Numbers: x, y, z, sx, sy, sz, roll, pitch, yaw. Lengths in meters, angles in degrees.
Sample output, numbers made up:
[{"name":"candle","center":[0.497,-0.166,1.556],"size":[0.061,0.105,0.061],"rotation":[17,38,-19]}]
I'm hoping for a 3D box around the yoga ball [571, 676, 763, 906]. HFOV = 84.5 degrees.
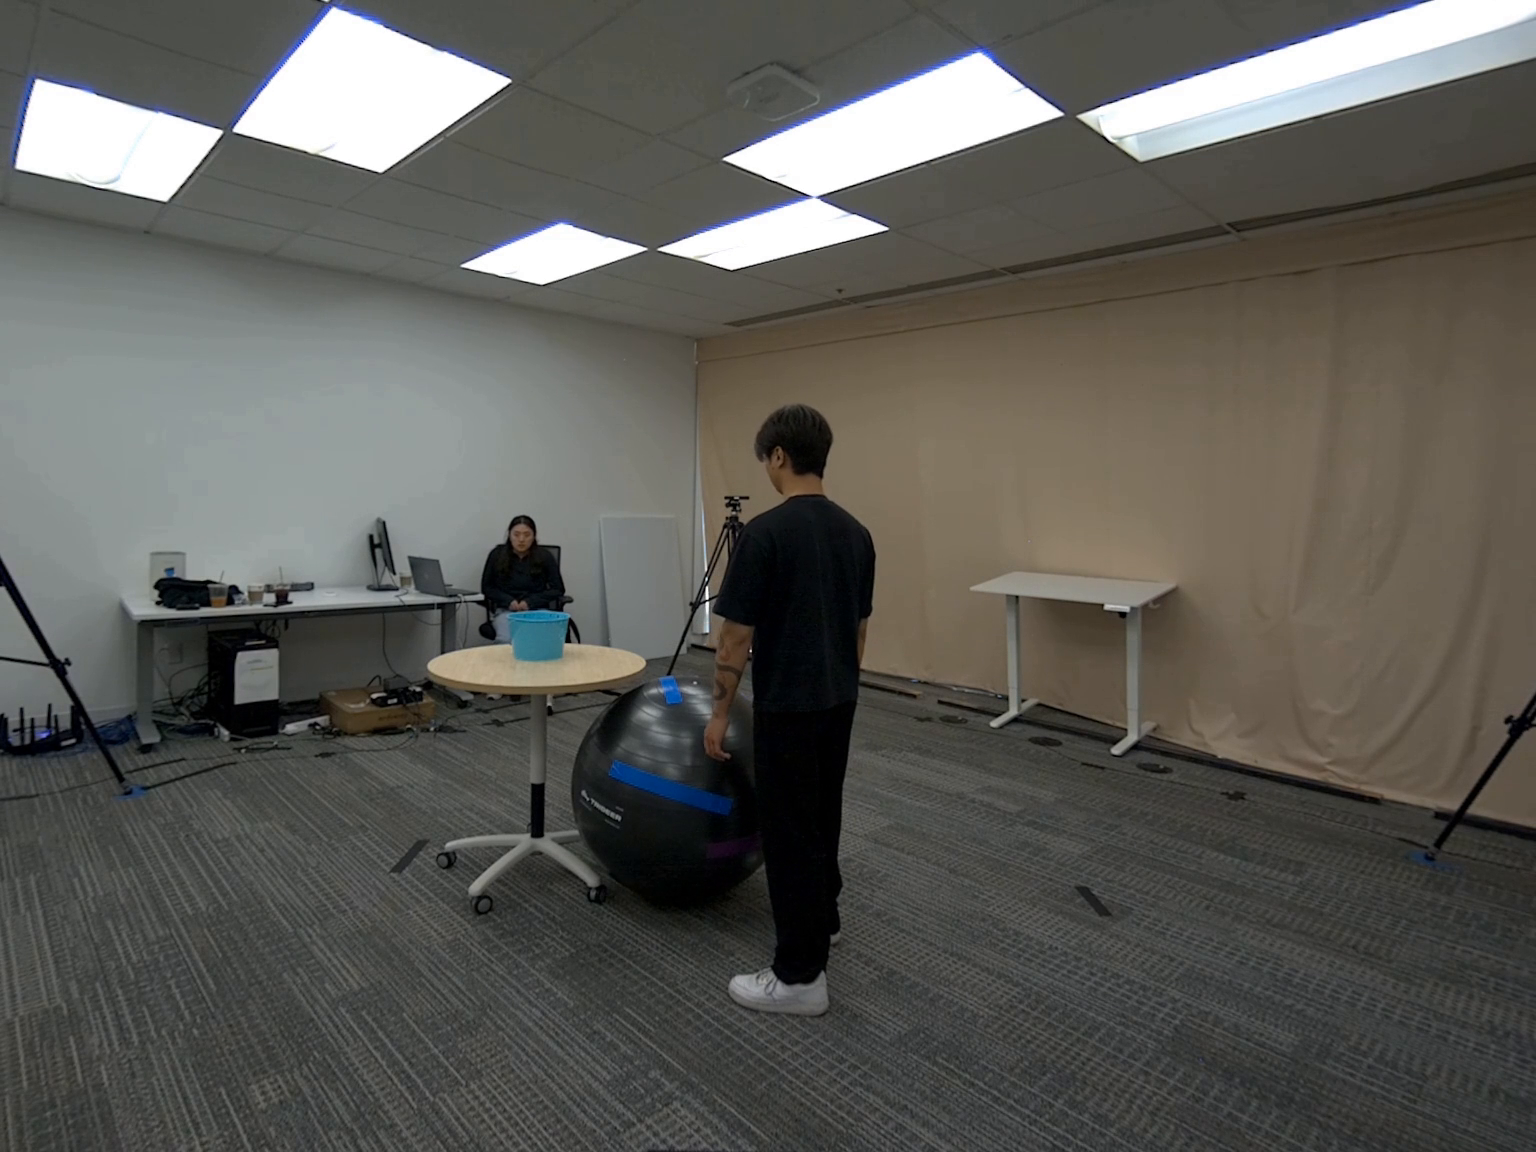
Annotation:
[{"name":"yoga ball","center":[-0.305,0.743,2.951],"size":[0.757,0.756,0.761],"rotation":[1,4,-1]}]
